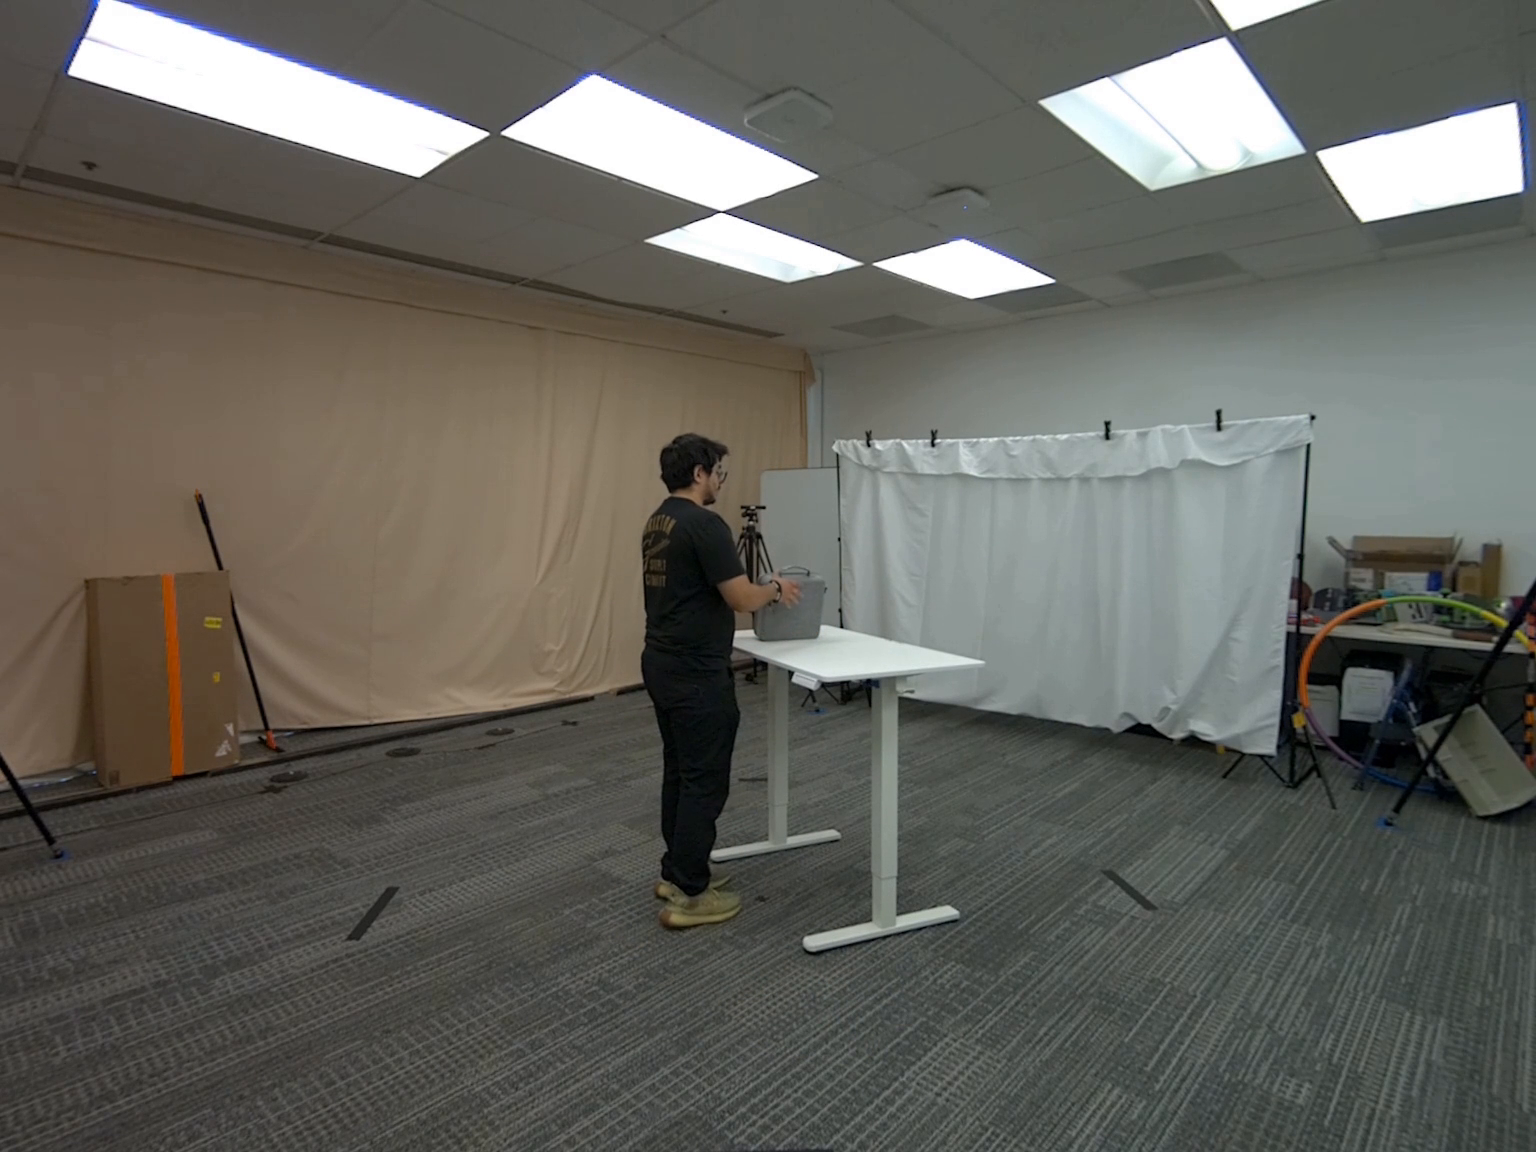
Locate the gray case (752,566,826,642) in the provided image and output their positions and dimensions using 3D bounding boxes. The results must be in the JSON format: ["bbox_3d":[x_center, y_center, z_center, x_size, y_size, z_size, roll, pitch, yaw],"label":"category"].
[{"bbox_3d":[0.078,0.117,3.203,0.252,0.259,0.107,0,12,-18],"label":"gray case"}]
